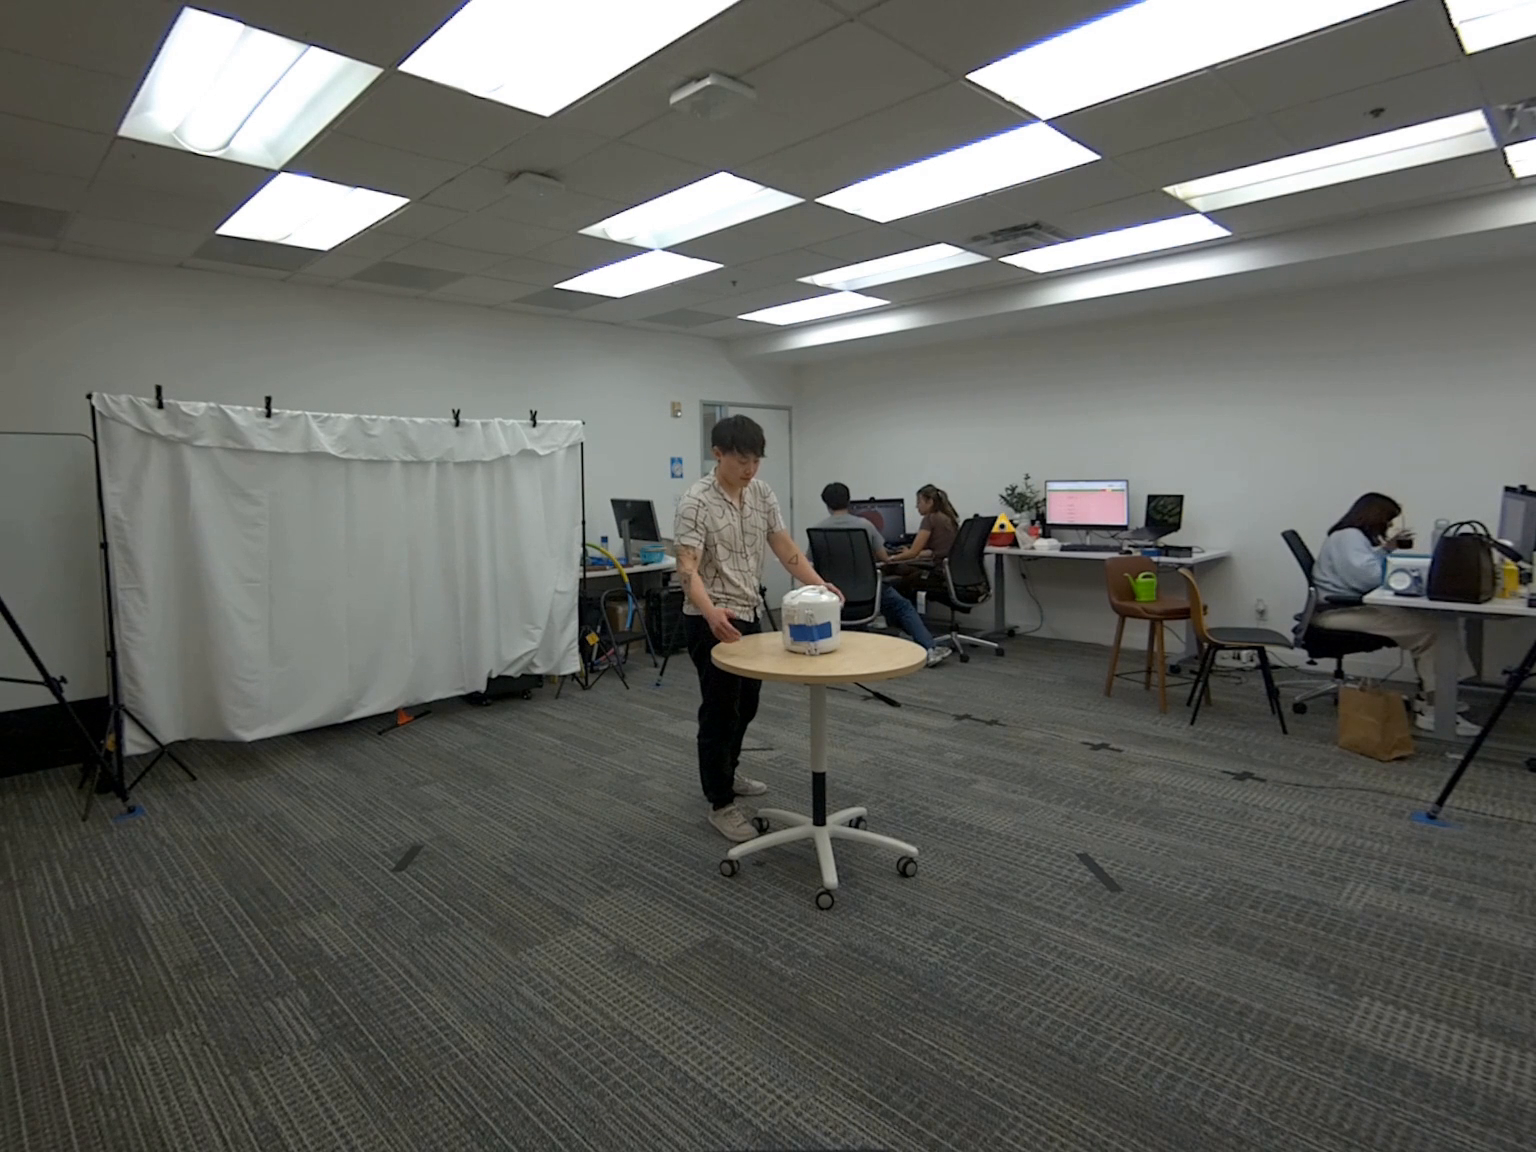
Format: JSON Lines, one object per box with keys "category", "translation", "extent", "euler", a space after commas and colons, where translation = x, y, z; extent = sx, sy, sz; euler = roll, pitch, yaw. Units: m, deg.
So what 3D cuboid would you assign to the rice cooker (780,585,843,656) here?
{"category": "rice cooker", "translation": [0.157, 0.152, 3.068], "extent": [0.214, 0.232, 0.224], "euler": [-3, 7, -42]}
